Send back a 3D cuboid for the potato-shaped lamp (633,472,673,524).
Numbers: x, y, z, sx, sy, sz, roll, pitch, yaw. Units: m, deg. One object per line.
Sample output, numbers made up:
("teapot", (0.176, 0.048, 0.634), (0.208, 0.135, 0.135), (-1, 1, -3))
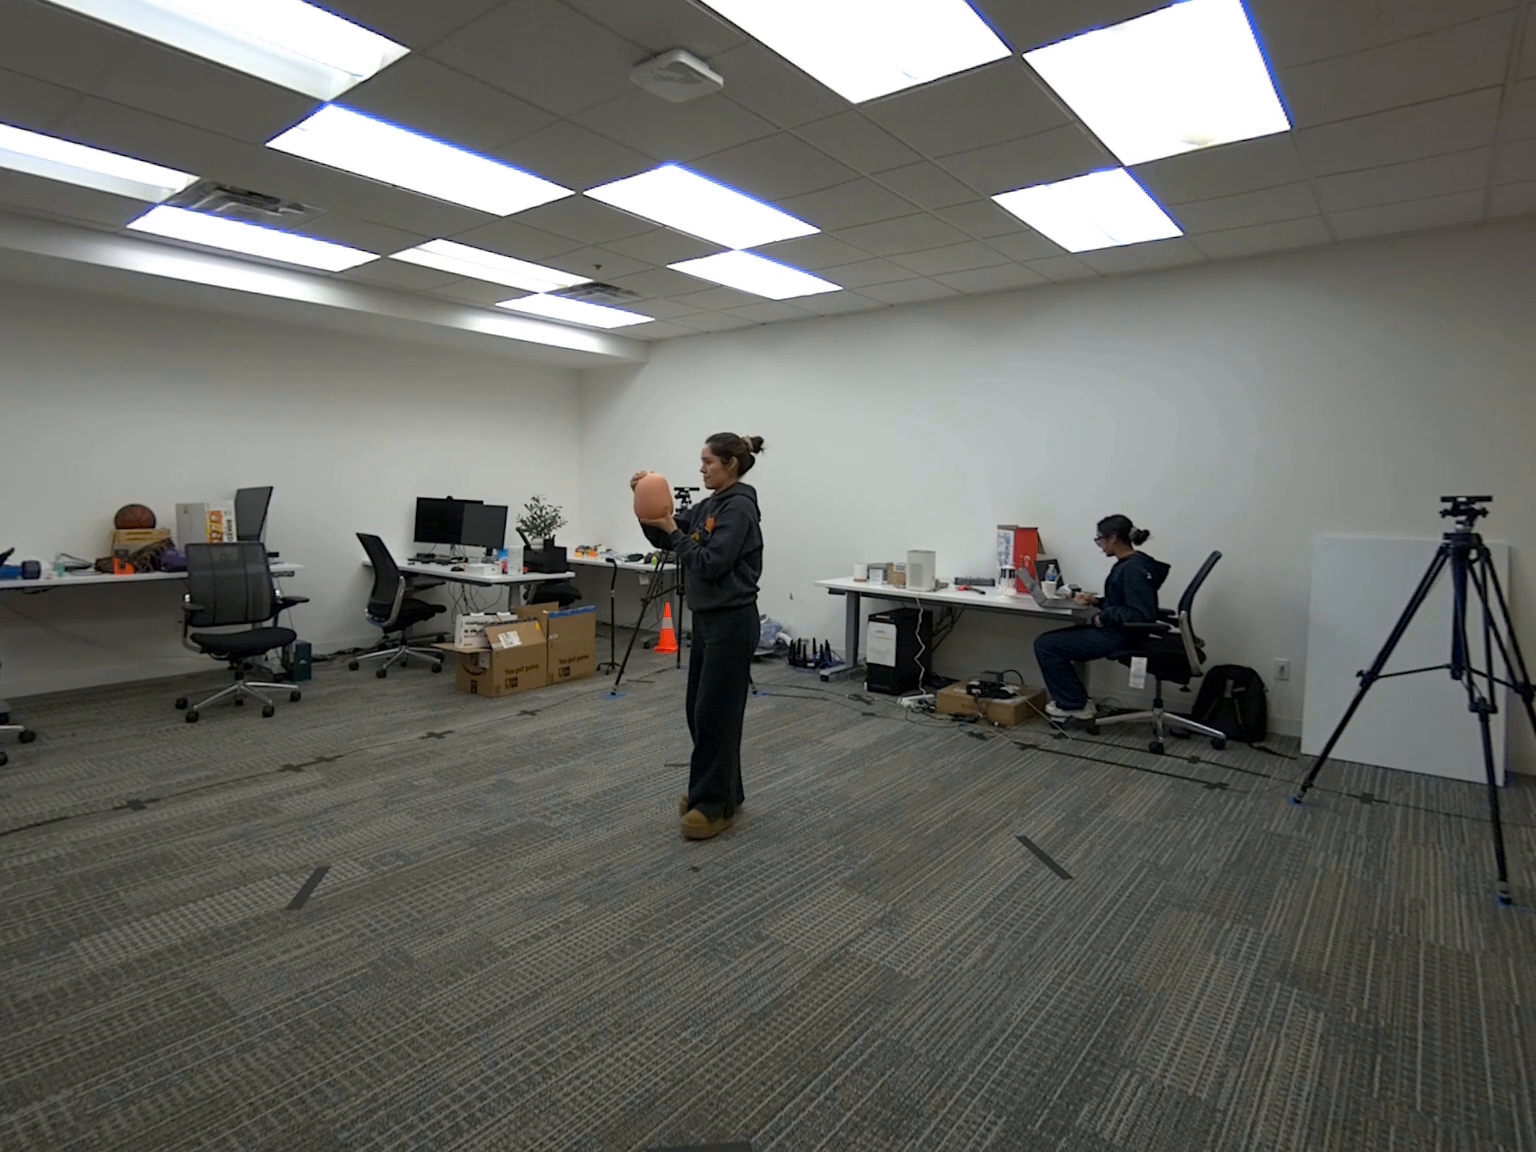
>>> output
("potato-shaped lamp", (-0.489, -0.333, 3.542), (0.164, 0.197, 0.173), (-7, 7, -5))
